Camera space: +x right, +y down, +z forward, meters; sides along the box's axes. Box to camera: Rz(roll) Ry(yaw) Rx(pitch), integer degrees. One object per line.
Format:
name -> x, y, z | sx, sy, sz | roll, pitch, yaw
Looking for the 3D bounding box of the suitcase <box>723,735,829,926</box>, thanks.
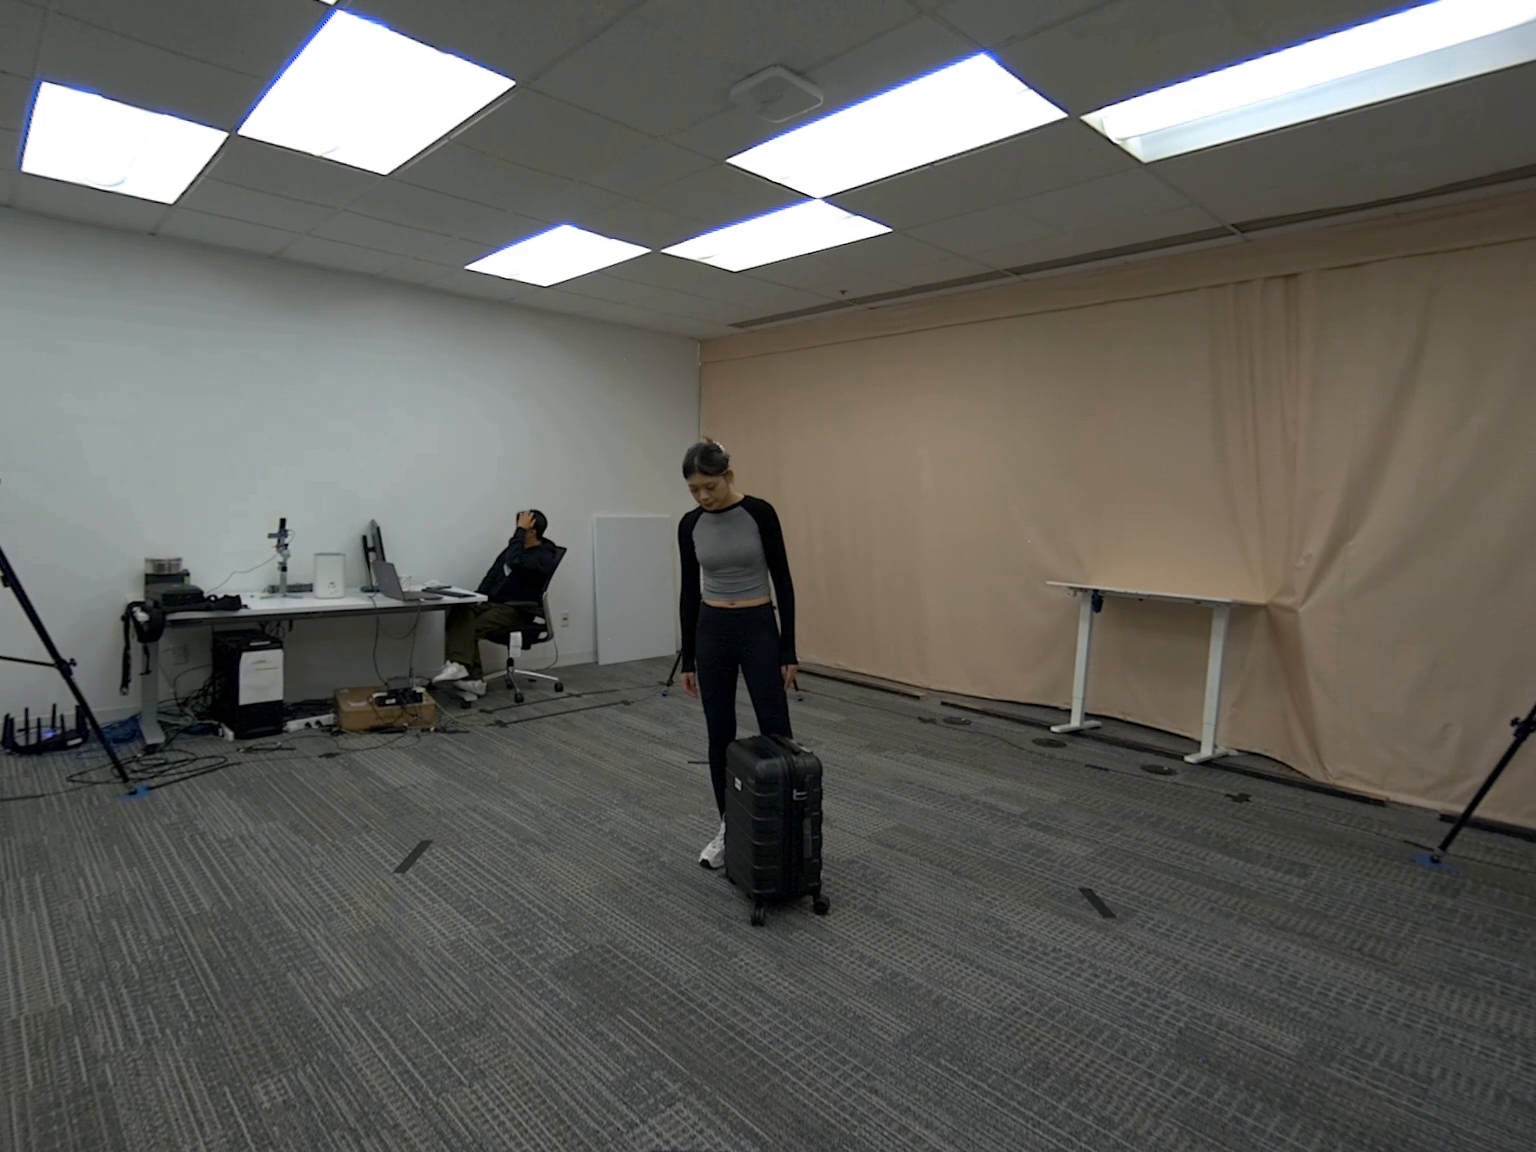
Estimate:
suitcase -> 0.010, 0.847, 2.929 | 0.244, 0.548, 0.382 | 0, 4, -21
